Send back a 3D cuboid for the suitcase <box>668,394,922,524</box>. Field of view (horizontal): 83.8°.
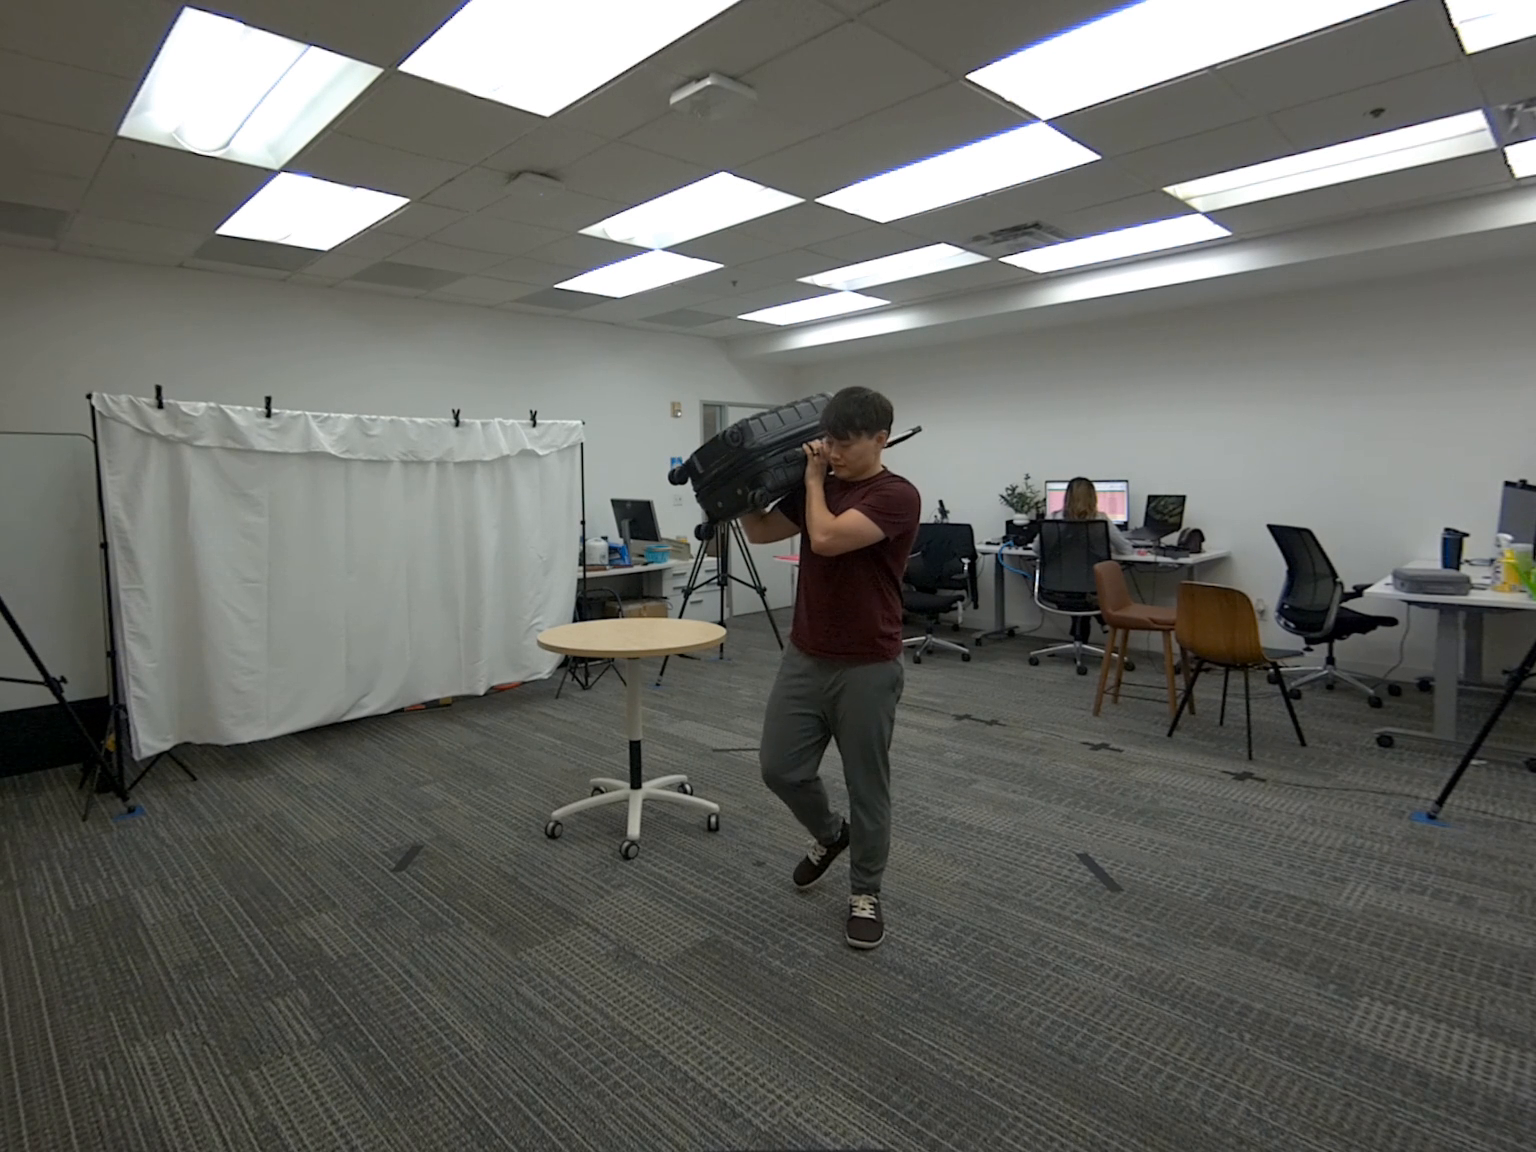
[{"bbox_3d":[0.137,-0.452,2.876,0.966,0.257,0.389,-29,1,-41],"label":"suitcase"}]
